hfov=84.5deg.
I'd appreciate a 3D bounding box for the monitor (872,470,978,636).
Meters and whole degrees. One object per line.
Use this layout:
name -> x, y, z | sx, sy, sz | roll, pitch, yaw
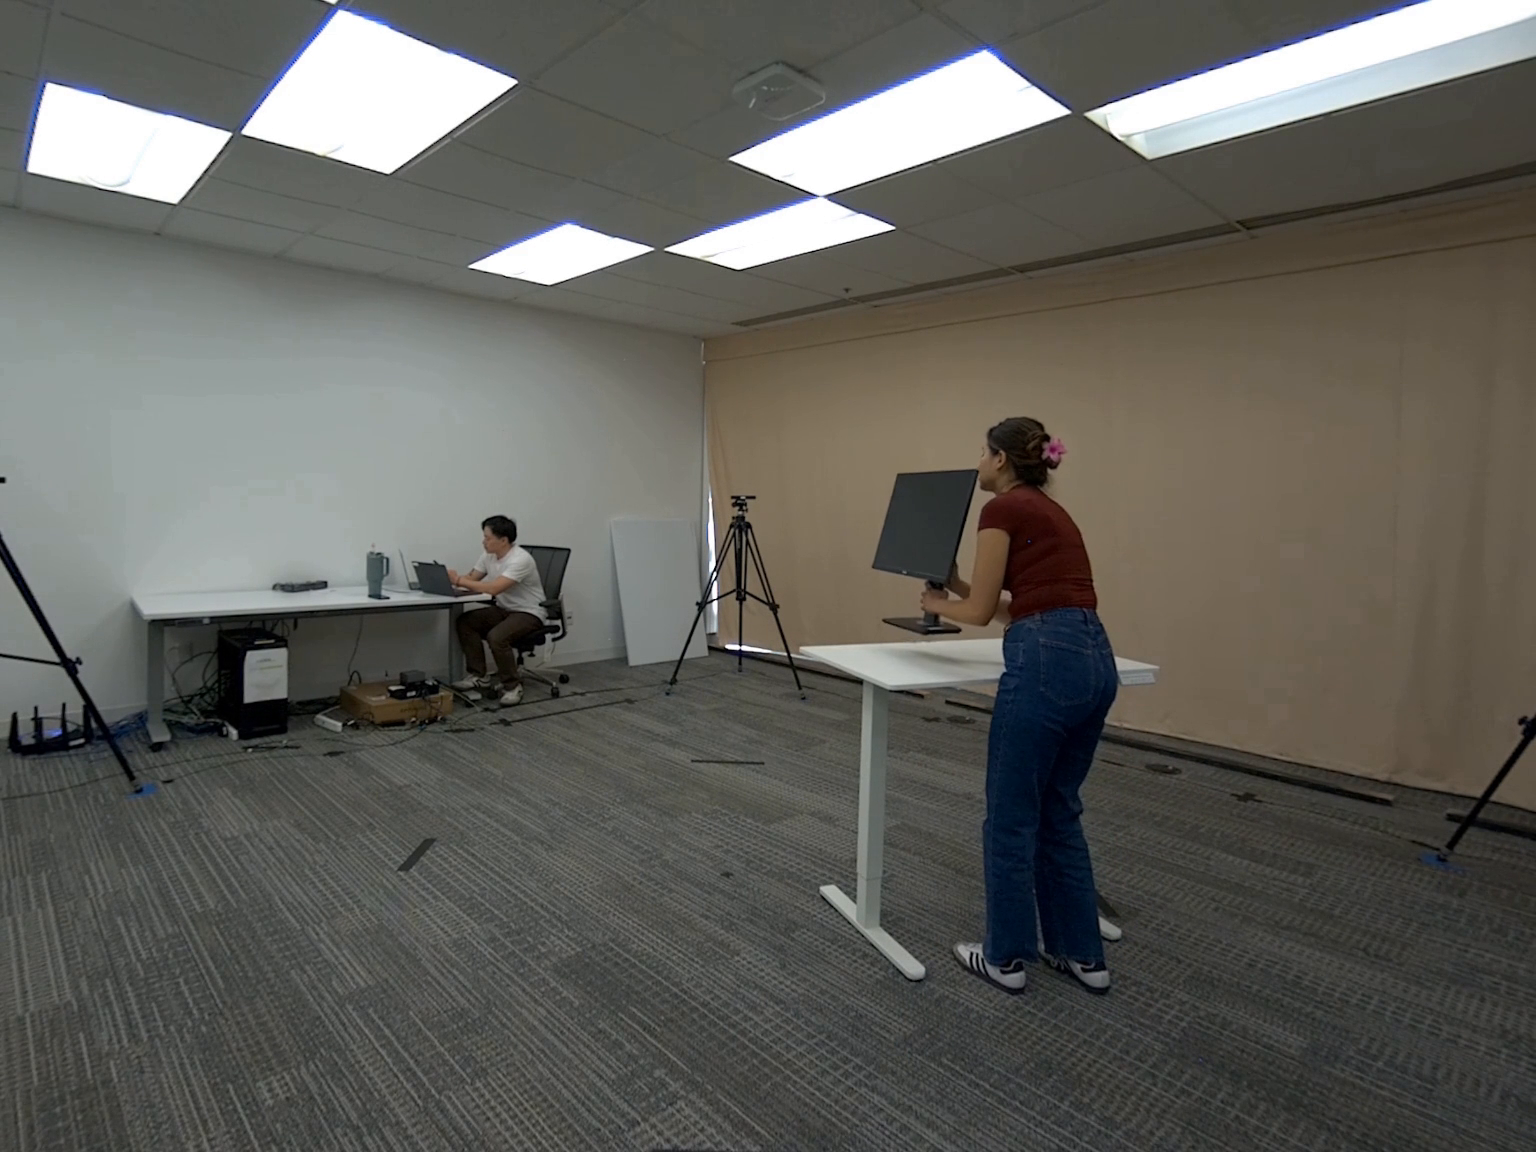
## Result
monitor -> 0.521, -0.081, 2.757 | 0.185, 0.521, 0.547 | 0, 4, -17
